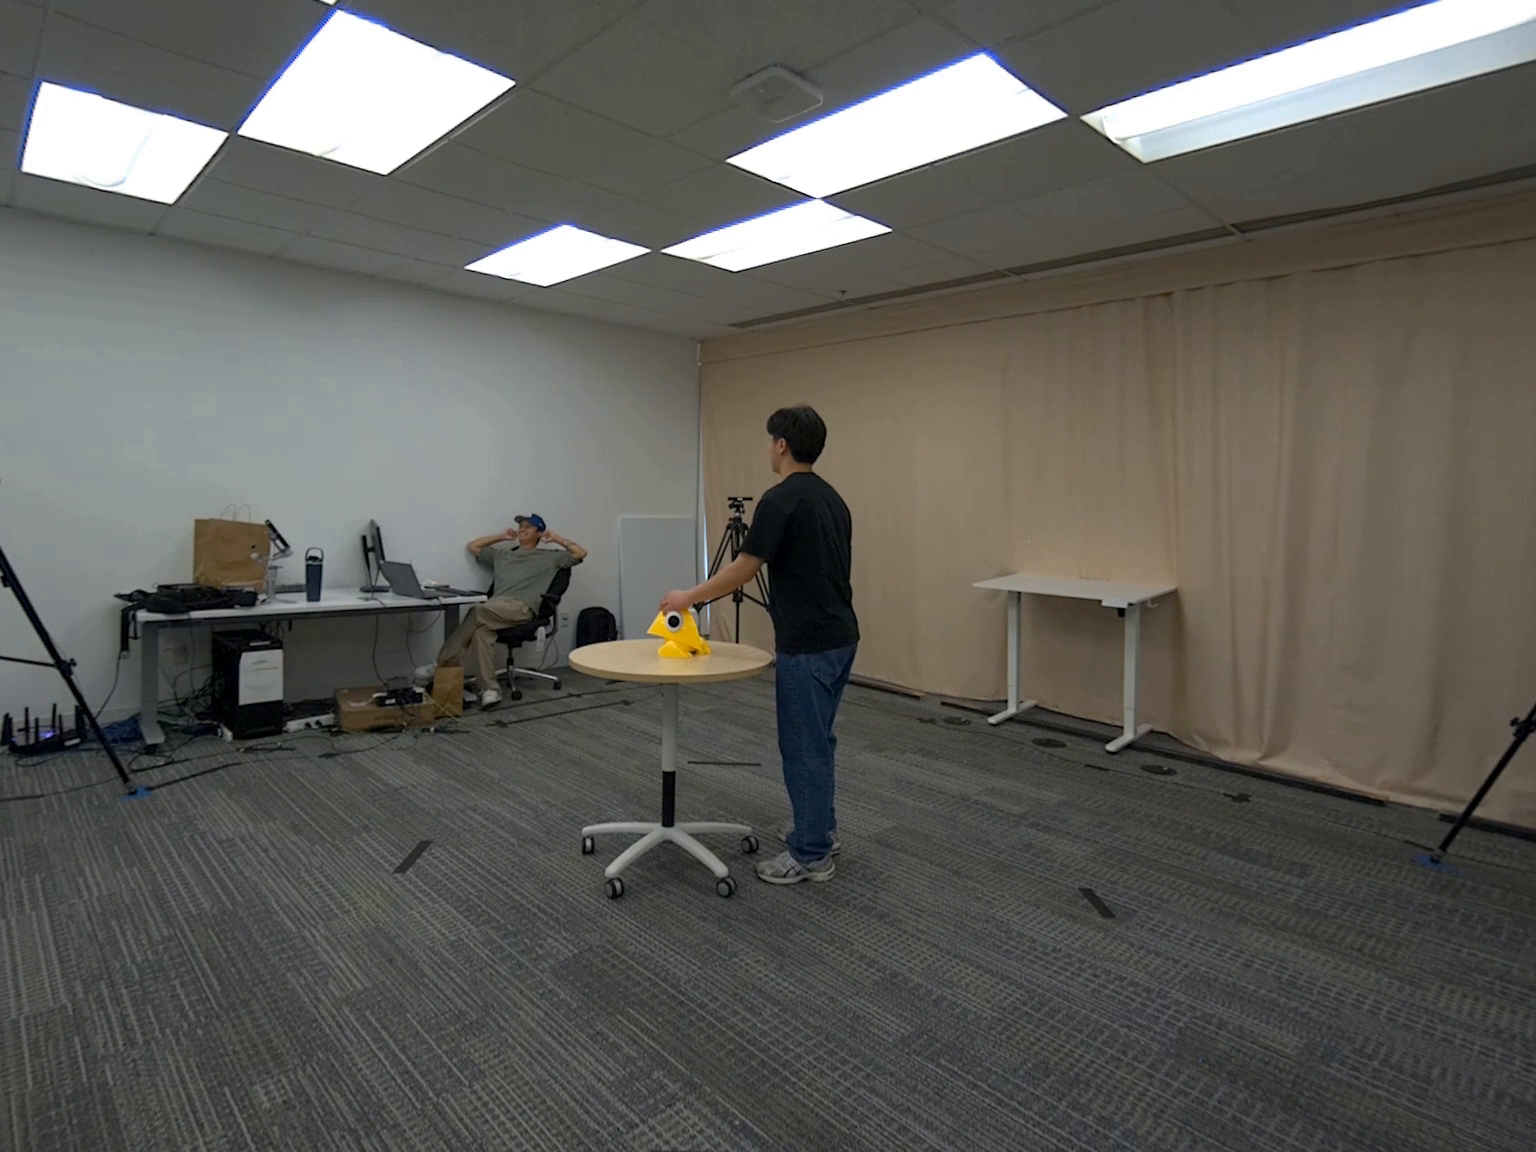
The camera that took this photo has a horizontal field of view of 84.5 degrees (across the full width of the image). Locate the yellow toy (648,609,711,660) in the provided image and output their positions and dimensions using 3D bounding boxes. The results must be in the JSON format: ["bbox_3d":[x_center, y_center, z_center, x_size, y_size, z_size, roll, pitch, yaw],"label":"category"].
[{"bbox_3d":[-0.331,0.182,3.226,0.198,0.230,0.200,5,5,37],"label":"yellow toy"}]
